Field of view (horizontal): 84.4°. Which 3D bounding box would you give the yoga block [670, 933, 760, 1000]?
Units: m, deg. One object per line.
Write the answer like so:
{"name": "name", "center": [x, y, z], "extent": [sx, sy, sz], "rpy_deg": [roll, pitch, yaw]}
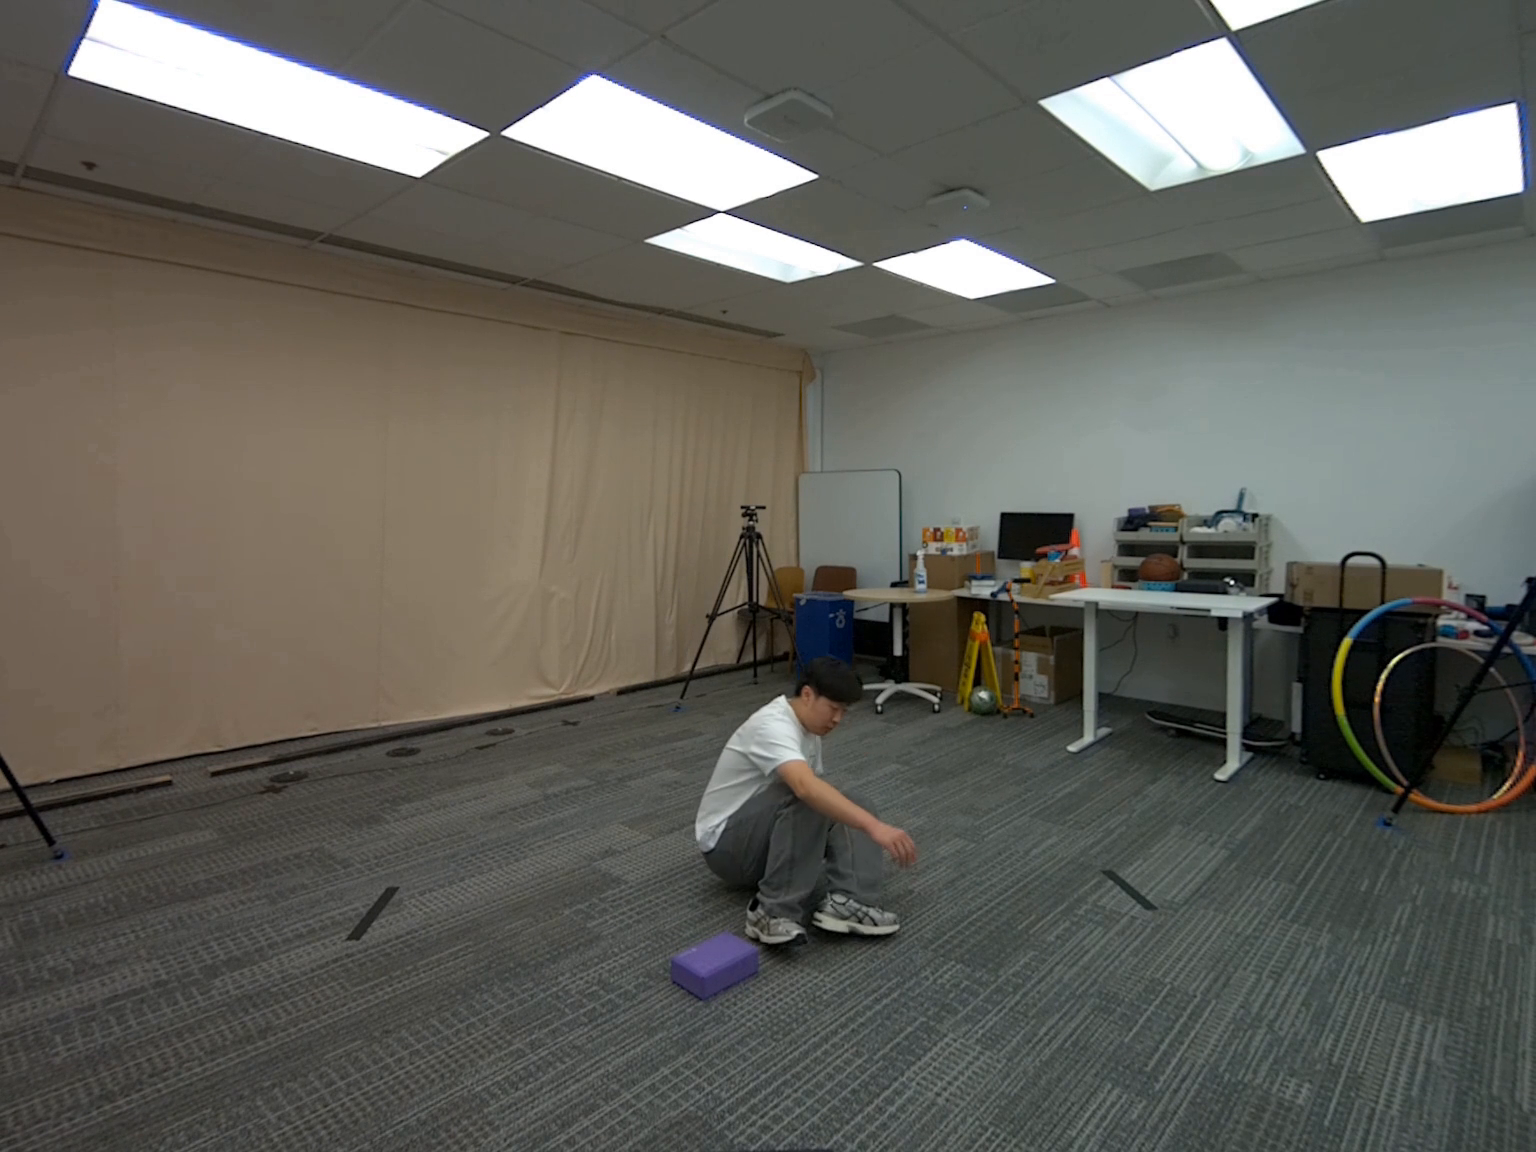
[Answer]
{"name": "yoga block", "center": [-0.155, 1.142, 2.489], "extent": [0.222, 0.076, 0.154], "rpy_deg": [-6, 7, -45]}
